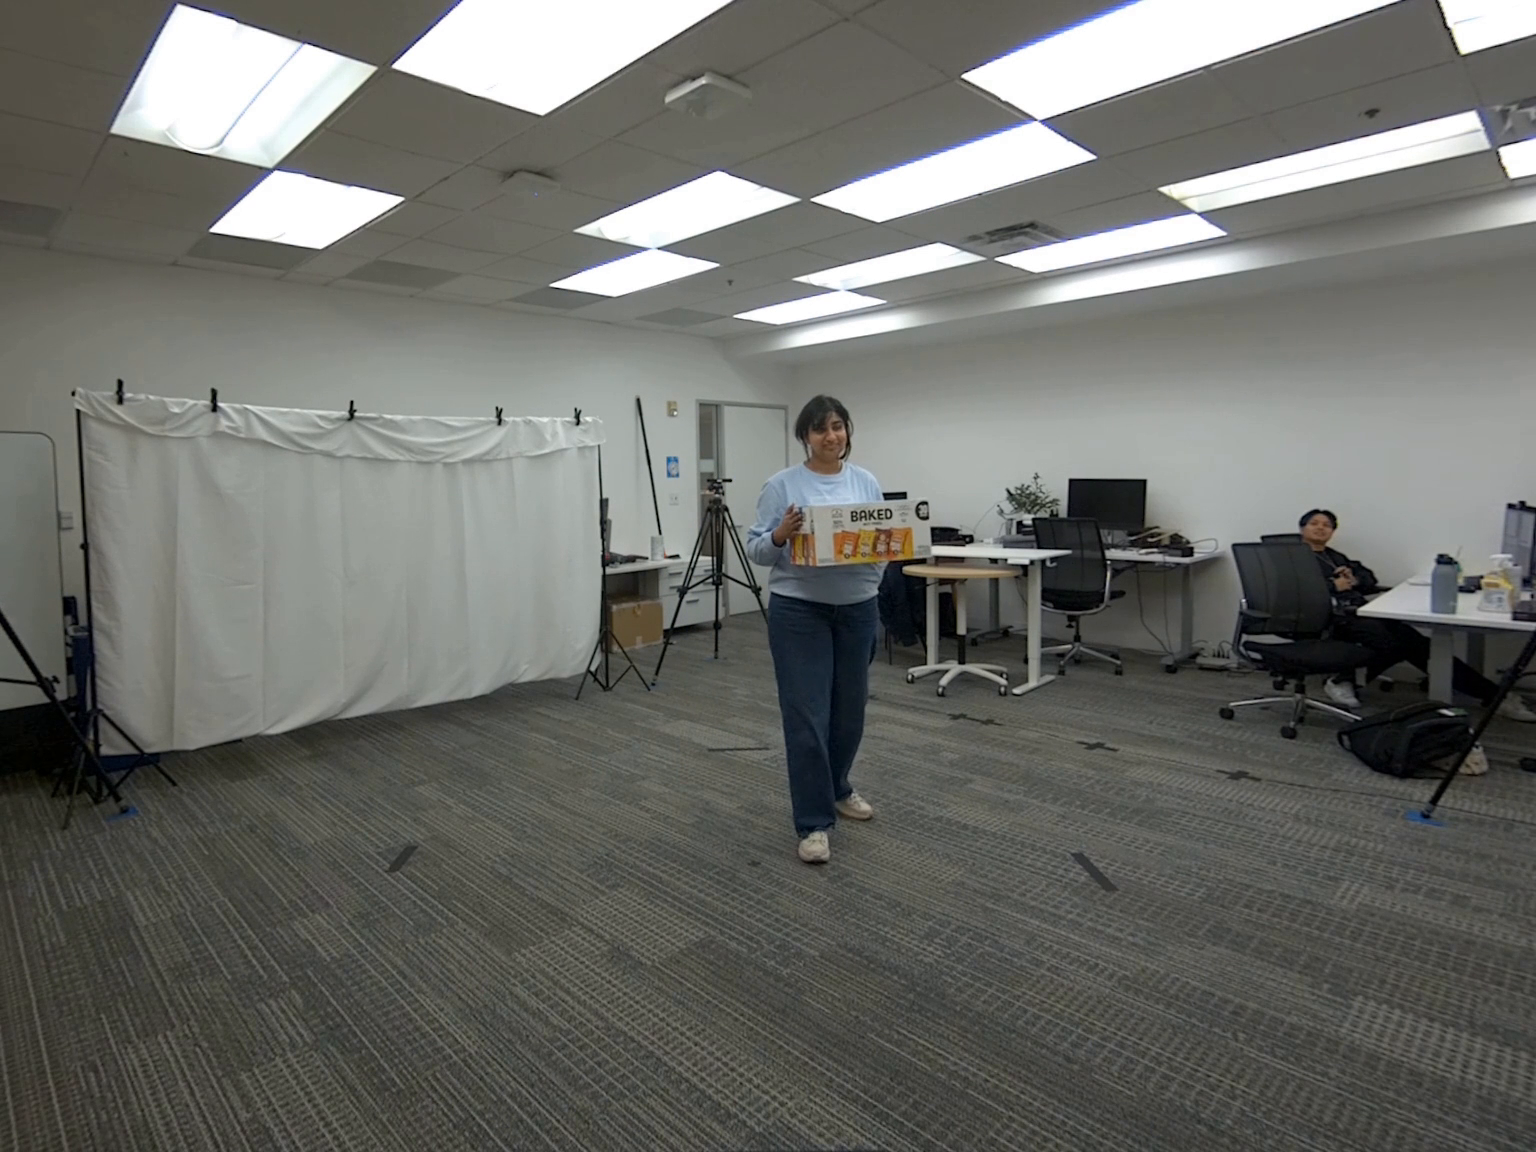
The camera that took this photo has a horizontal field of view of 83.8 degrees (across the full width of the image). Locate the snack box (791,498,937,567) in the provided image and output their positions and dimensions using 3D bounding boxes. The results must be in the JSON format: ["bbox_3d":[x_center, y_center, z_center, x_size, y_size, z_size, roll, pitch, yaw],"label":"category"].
[{"bbox_3d":[0.319,-0.150,2.995,0.402,0.205,0.344,-5,3,-10],"label":"snack box"}]
